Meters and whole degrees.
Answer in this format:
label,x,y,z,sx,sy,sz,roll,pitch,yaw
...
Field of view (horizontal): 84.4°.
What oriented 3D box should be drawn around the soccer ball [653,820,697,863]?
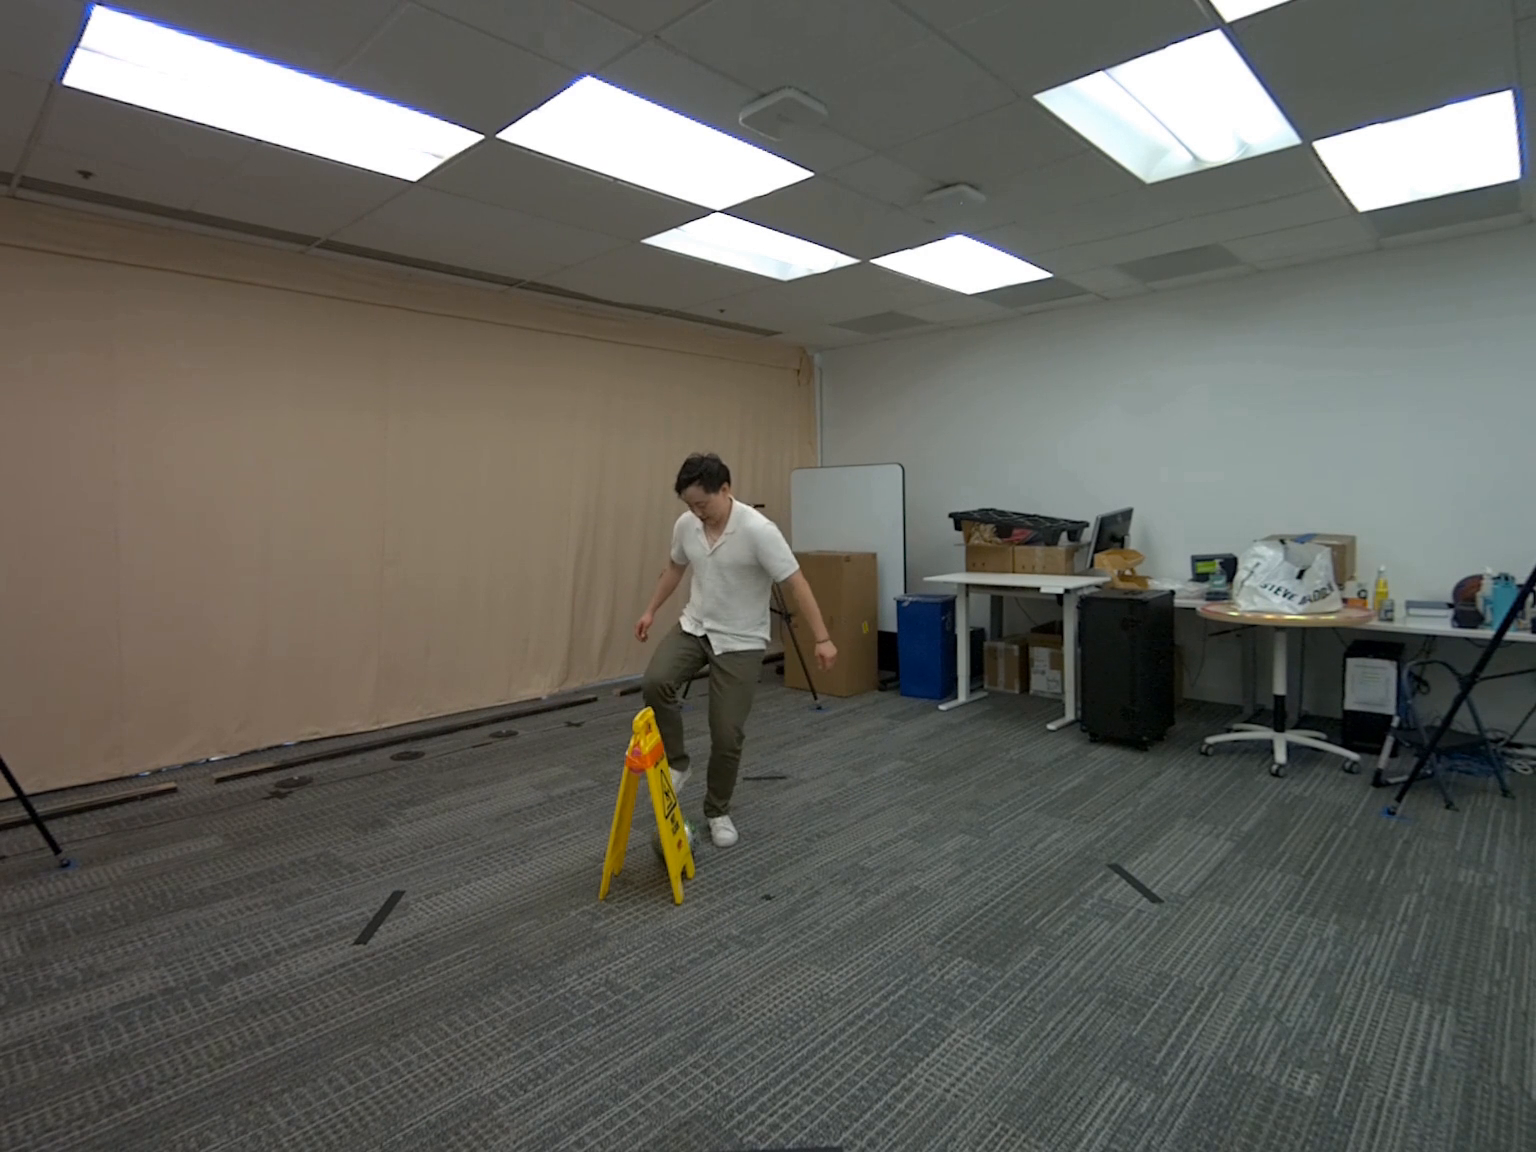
label,x,y,z,sx,sy,sz,roll,pitch,yaw
soccer ball,-0.355,1.026,3.287,0.187,0.187,0.188,-1,4,-2
